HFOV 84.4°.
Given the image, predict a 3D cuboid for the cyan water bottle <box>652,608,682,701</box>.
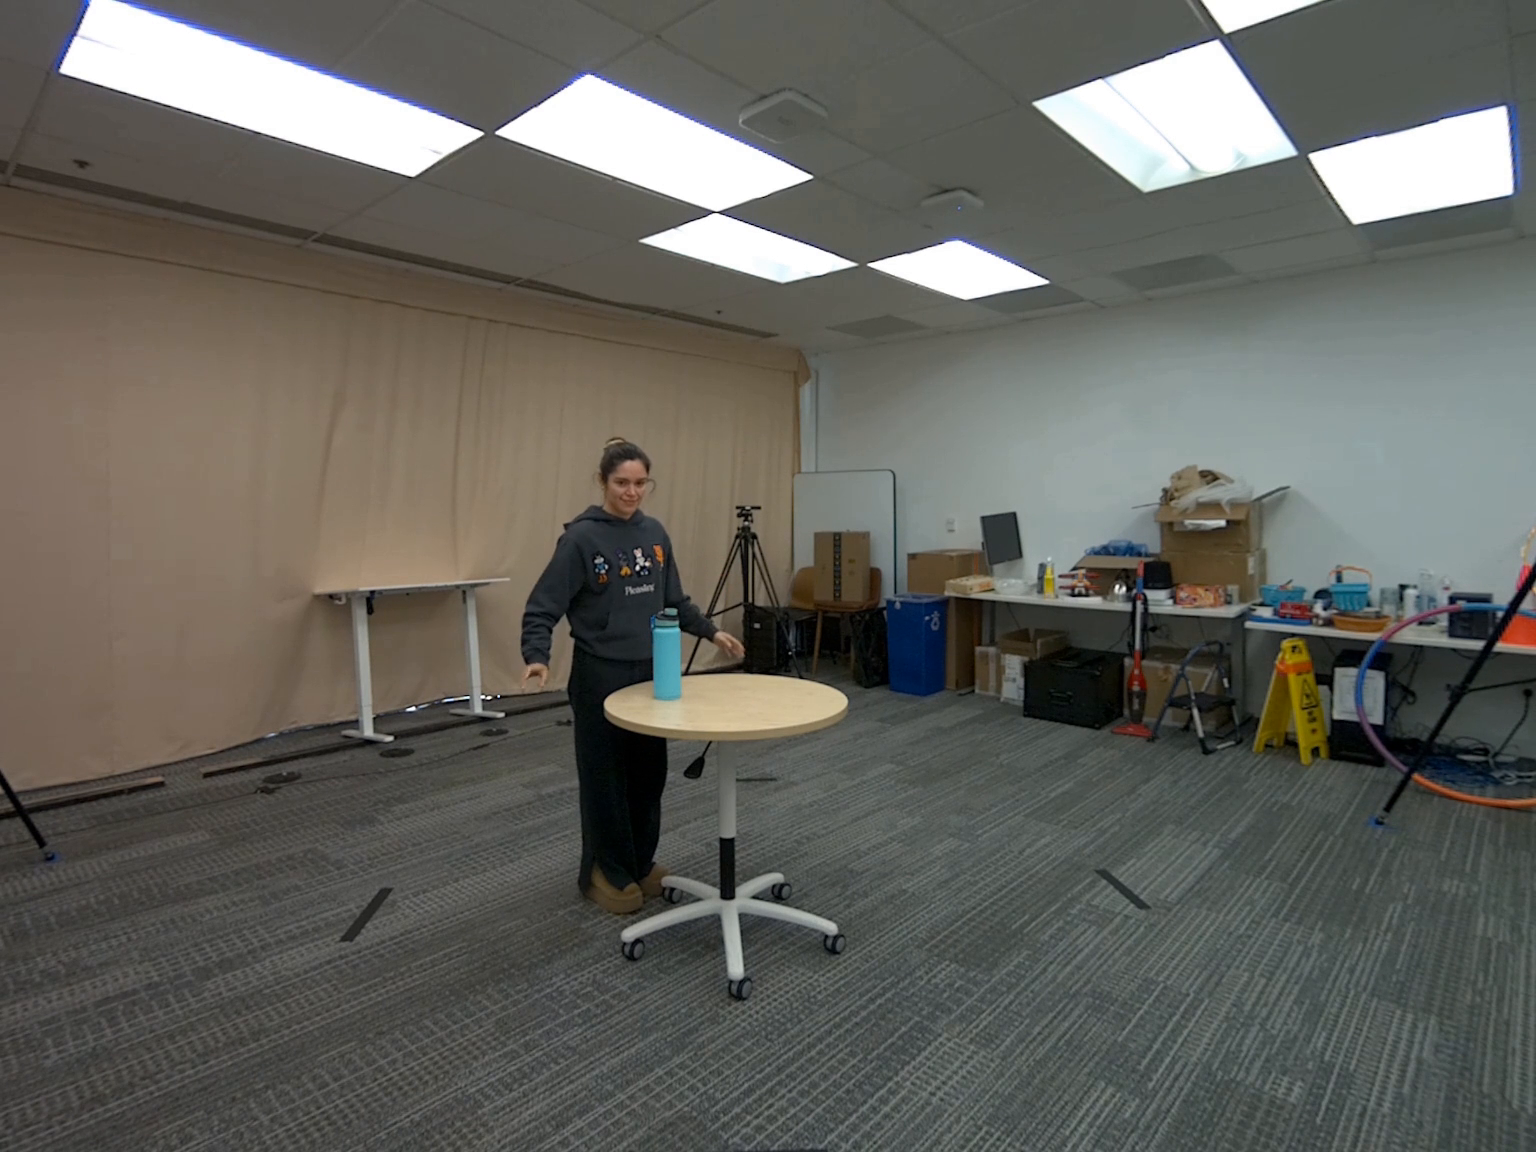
[{"bbox_3d":[-0.314,0.249,2.692,0.092,0.283,0.092,-4,2,-2],"label":"cyan water bottle"}]
